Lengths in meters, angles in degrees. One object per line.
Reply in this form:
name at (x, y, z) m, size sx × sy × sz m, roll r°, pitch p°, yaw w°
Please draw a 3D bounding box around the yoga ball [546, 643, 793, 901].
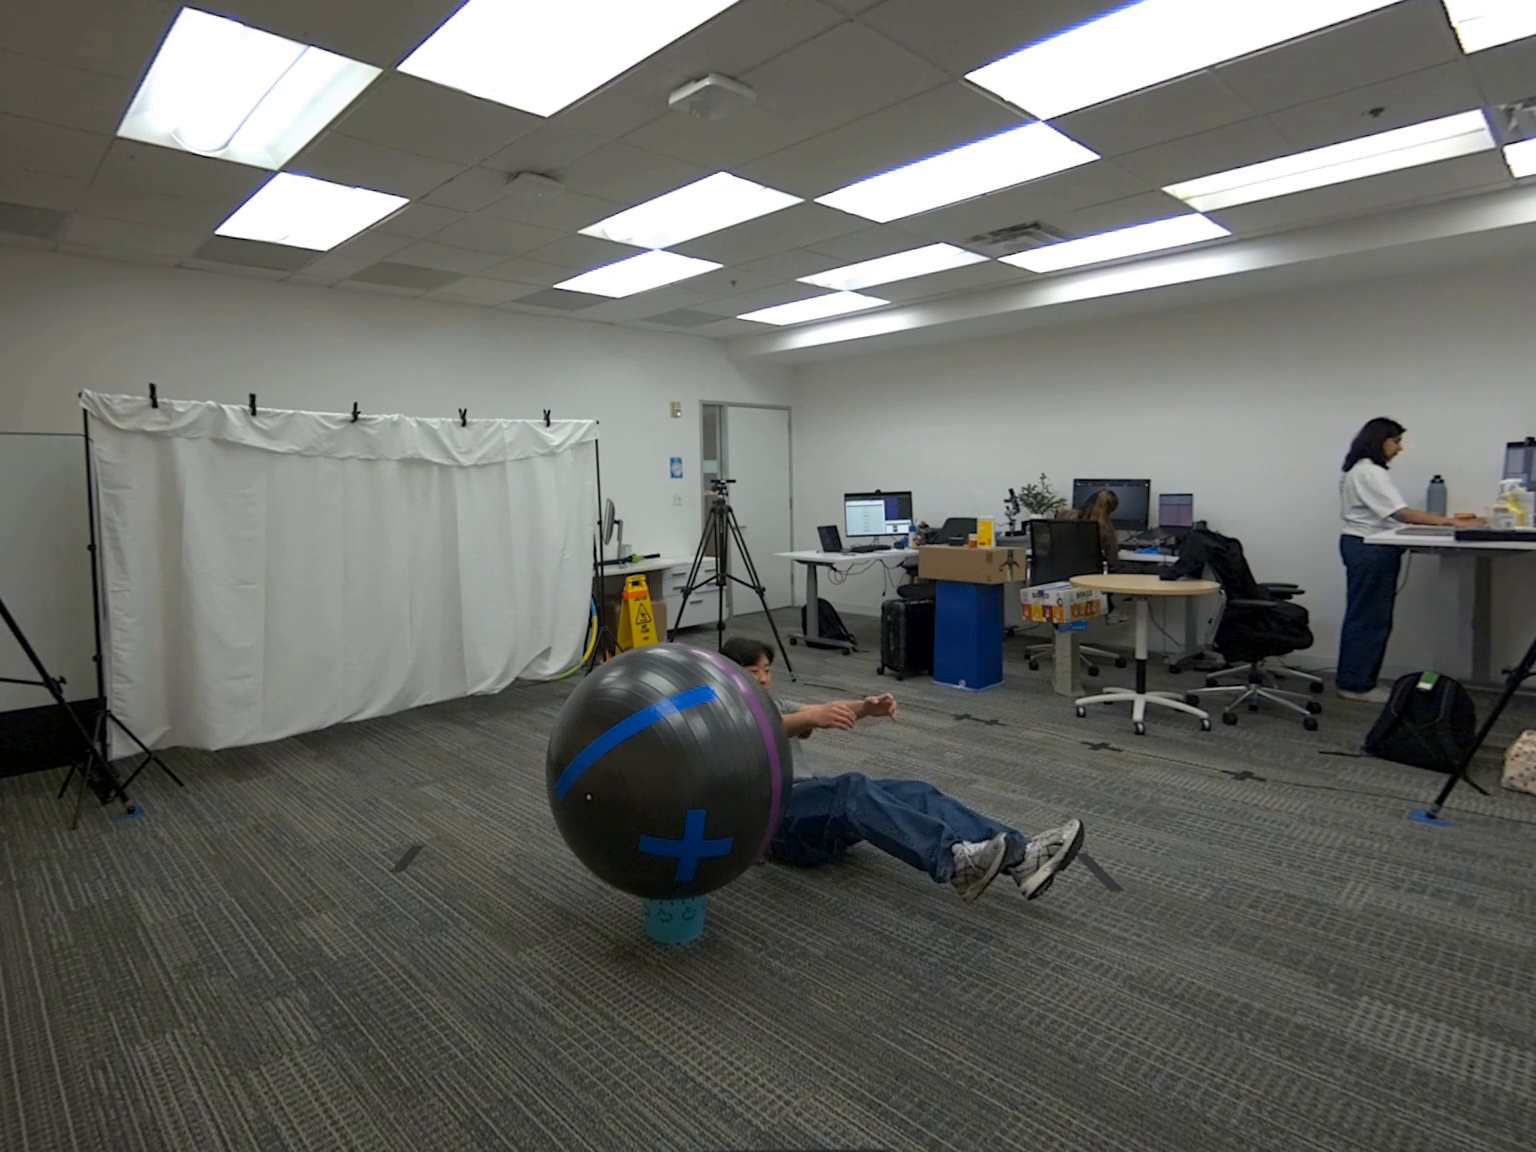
yoga ball at (-0.302, 0.595, 2.643) m, size 0.757 × 0.755 × 0.762 m, roll -1°, pitch 5°, yaw -2°
